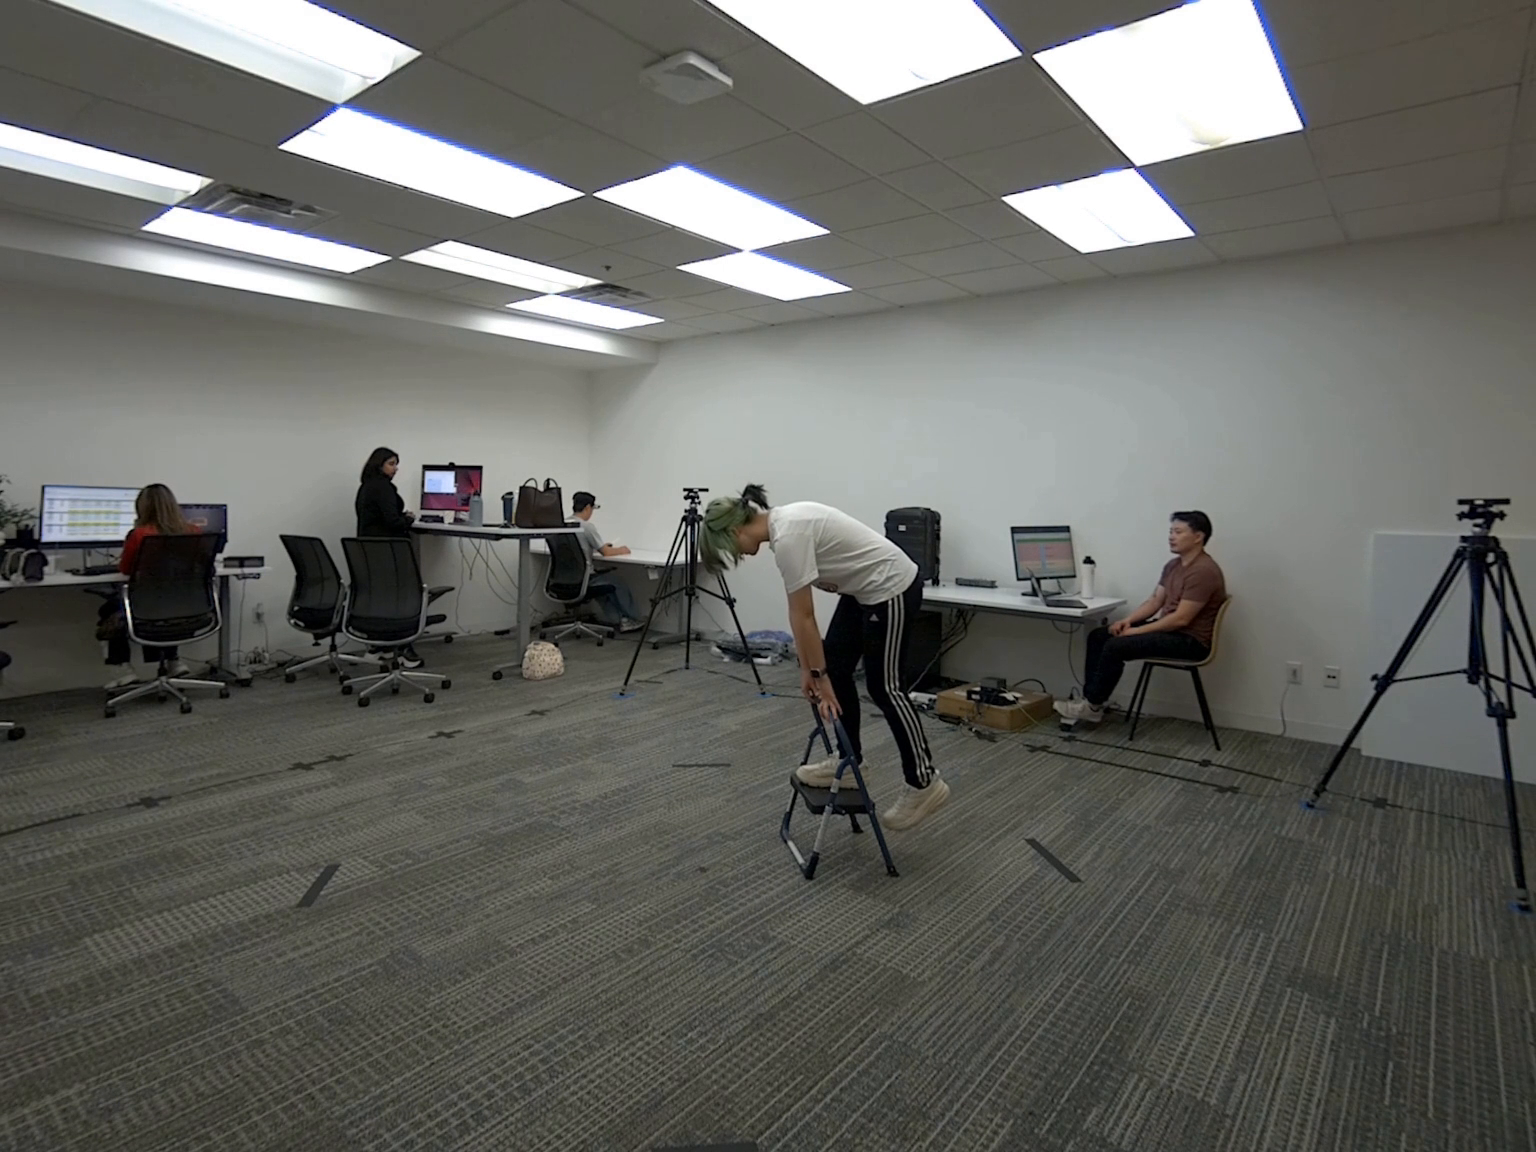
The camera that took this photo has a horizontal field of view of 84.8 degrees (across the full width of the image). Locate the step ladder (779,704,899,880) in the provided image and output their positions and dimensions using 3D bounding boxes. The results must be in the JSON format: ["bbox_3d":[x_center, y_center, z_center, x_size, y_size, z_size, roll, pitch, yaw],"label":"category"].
[{"bbox_3d":[0.259,0.767,3.254,0.345,0.604,0.437,1,4,-12],"label":"step ladder"}]
